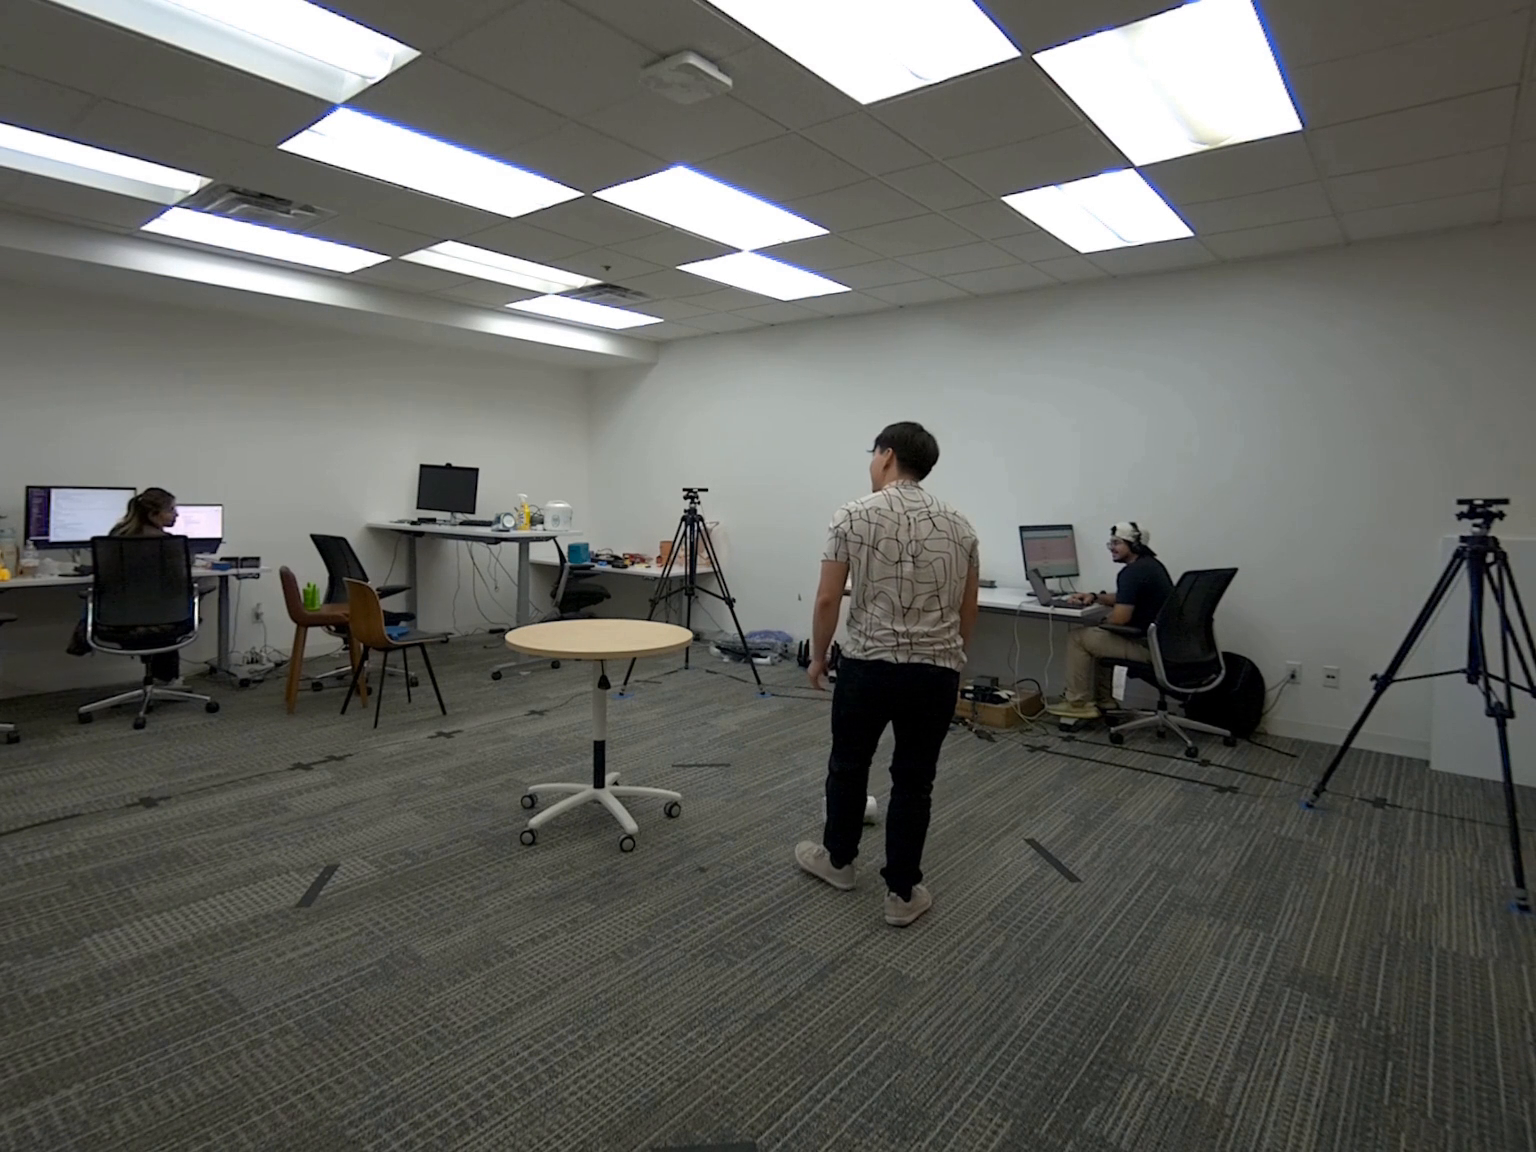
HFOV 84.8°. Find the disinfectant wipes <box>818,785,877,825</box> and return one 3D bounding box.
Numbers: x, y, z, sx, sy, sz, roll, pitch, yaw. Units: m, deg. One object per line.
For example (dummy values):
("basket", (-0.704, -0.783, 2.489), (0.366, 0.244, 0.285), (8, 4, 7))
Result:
("disinfectant wipes", (0.334, 0.970, 3.577), (0.217, 0.117, 0.118), (3, 4, -4))
